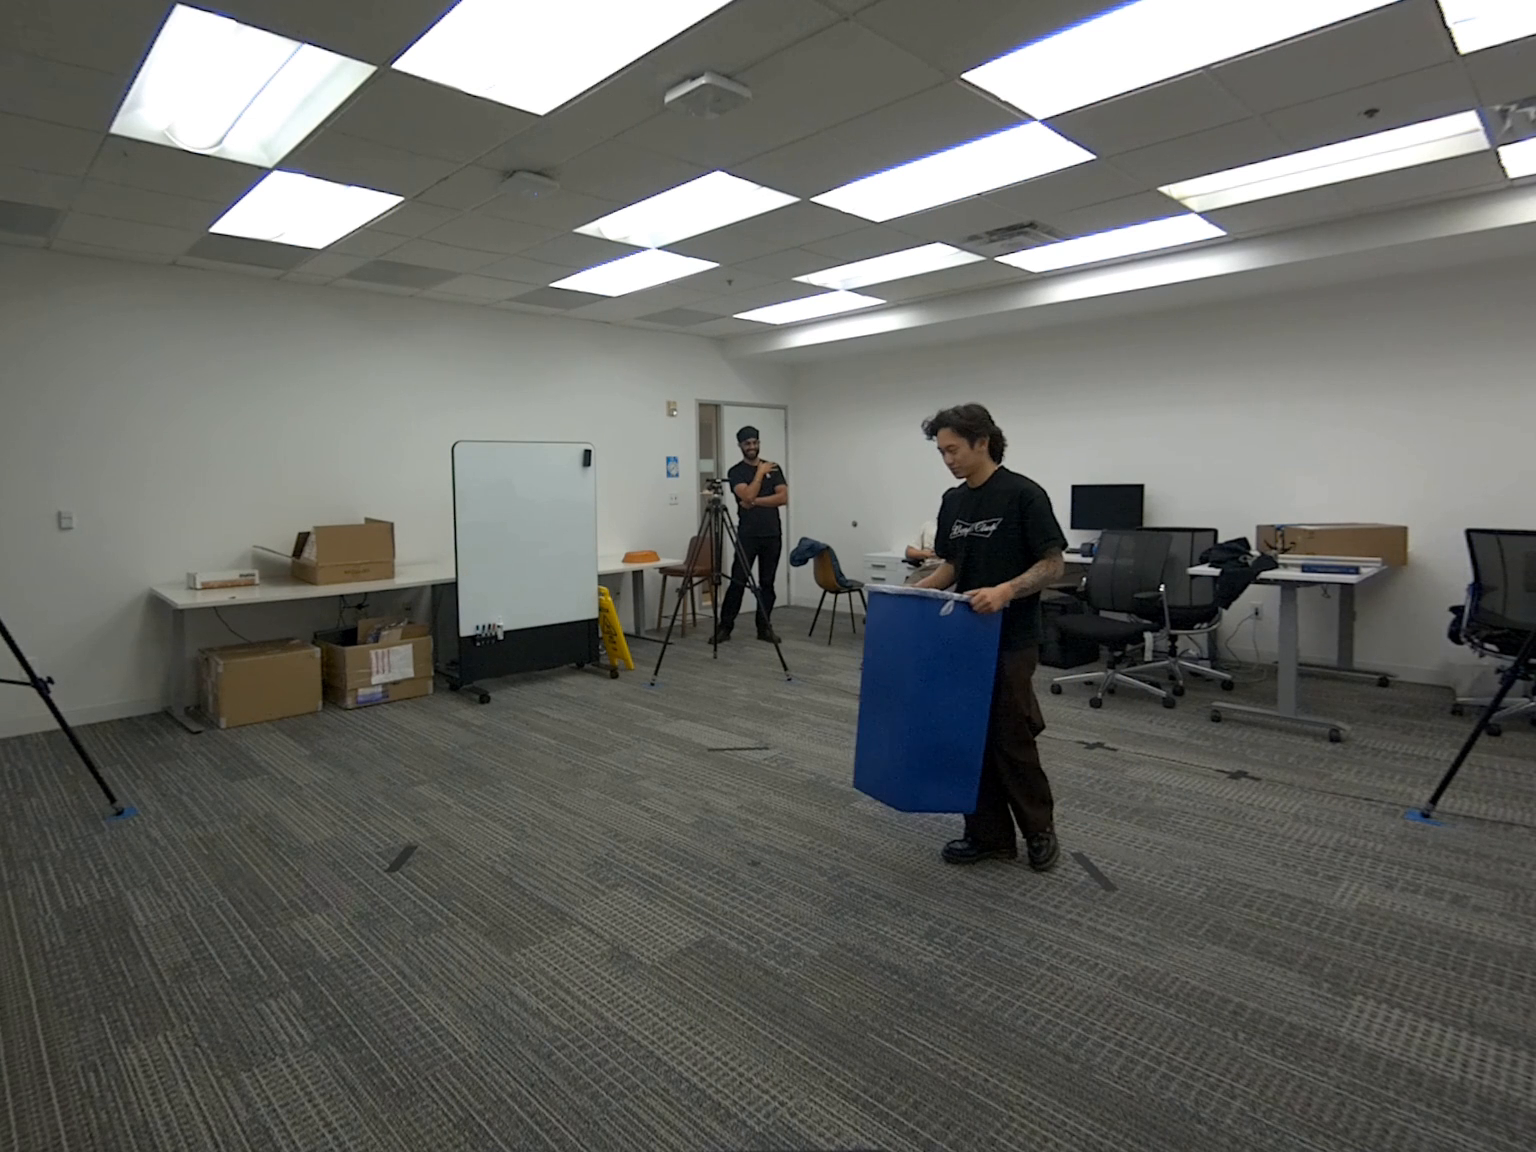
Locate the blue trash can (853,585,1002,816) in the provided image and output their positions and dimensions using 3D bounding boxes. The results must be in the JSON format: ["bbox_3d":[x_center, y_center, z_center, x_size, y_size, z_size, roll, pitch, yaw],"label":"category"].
[{"bbox_3d":[0.538,0.410,2.936,0.369,0.715,0.382,8,-3,-25],"label":"blue trash can"}]
